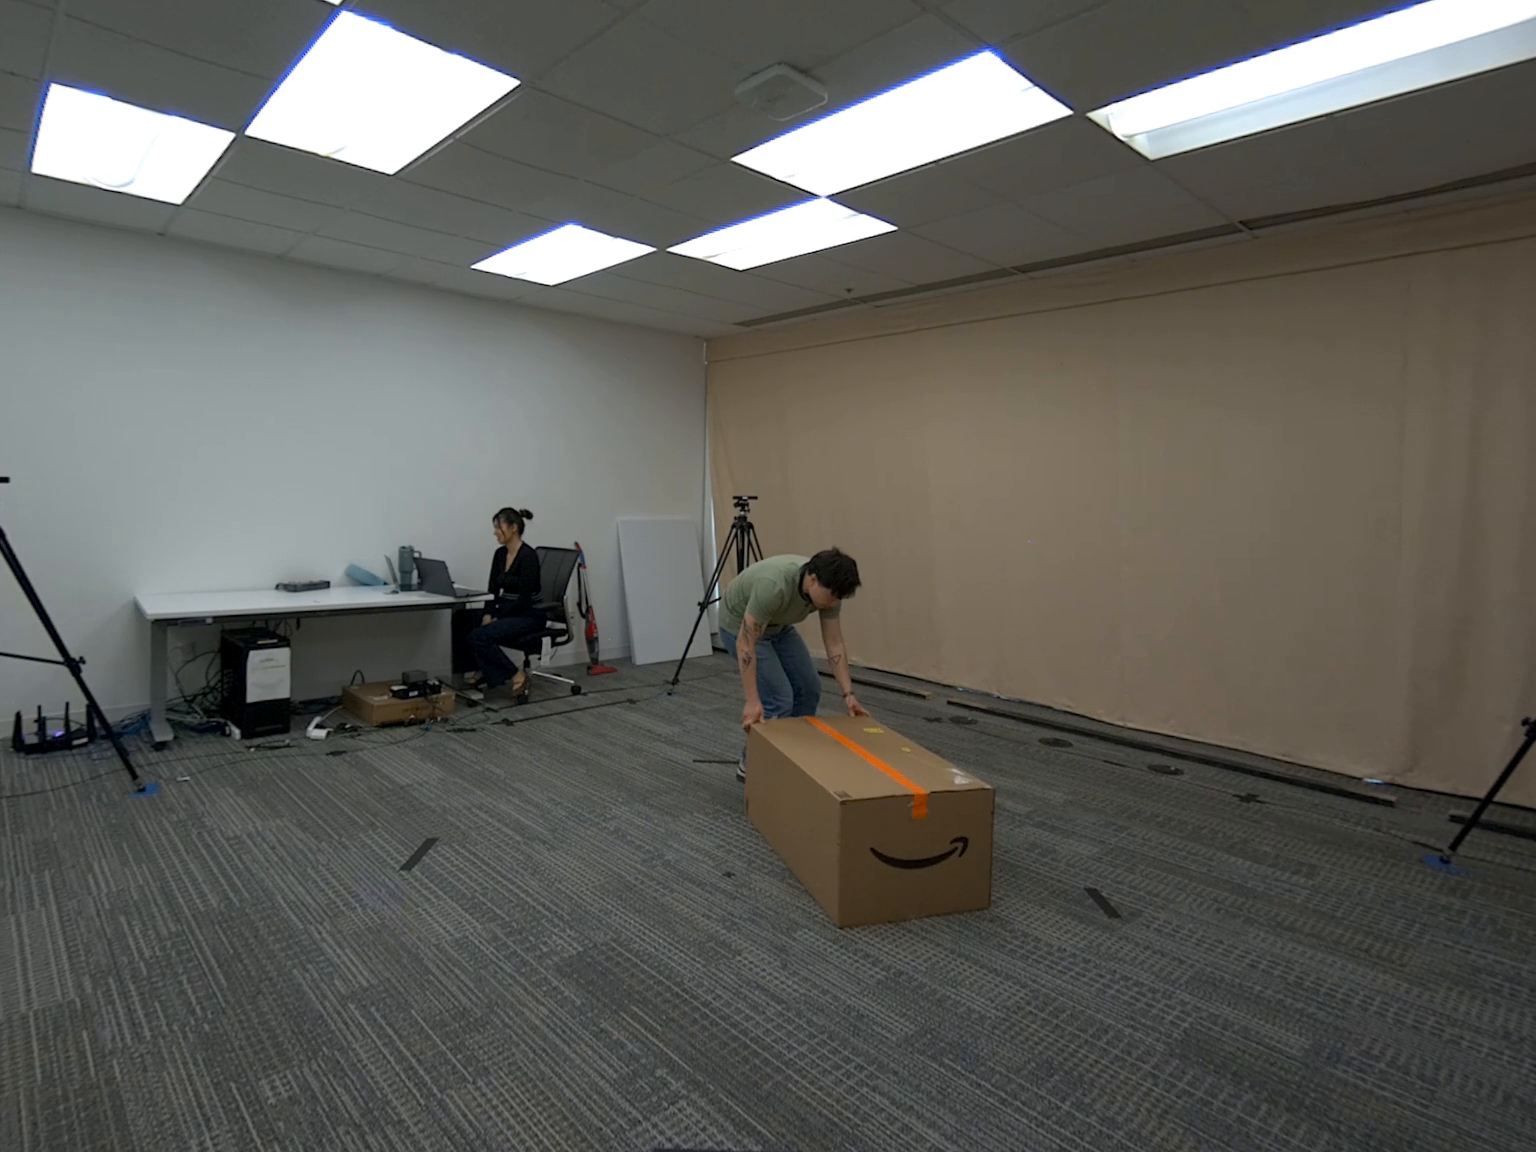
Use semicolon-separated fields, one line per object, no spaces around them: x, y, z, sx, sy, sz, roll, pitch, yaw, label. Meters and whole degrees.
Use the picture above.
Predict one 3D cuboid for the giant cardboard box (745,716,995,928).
0.329;0.886;3.282;0.569;0.425;1.043;1;4;-18;giant cardboard box
